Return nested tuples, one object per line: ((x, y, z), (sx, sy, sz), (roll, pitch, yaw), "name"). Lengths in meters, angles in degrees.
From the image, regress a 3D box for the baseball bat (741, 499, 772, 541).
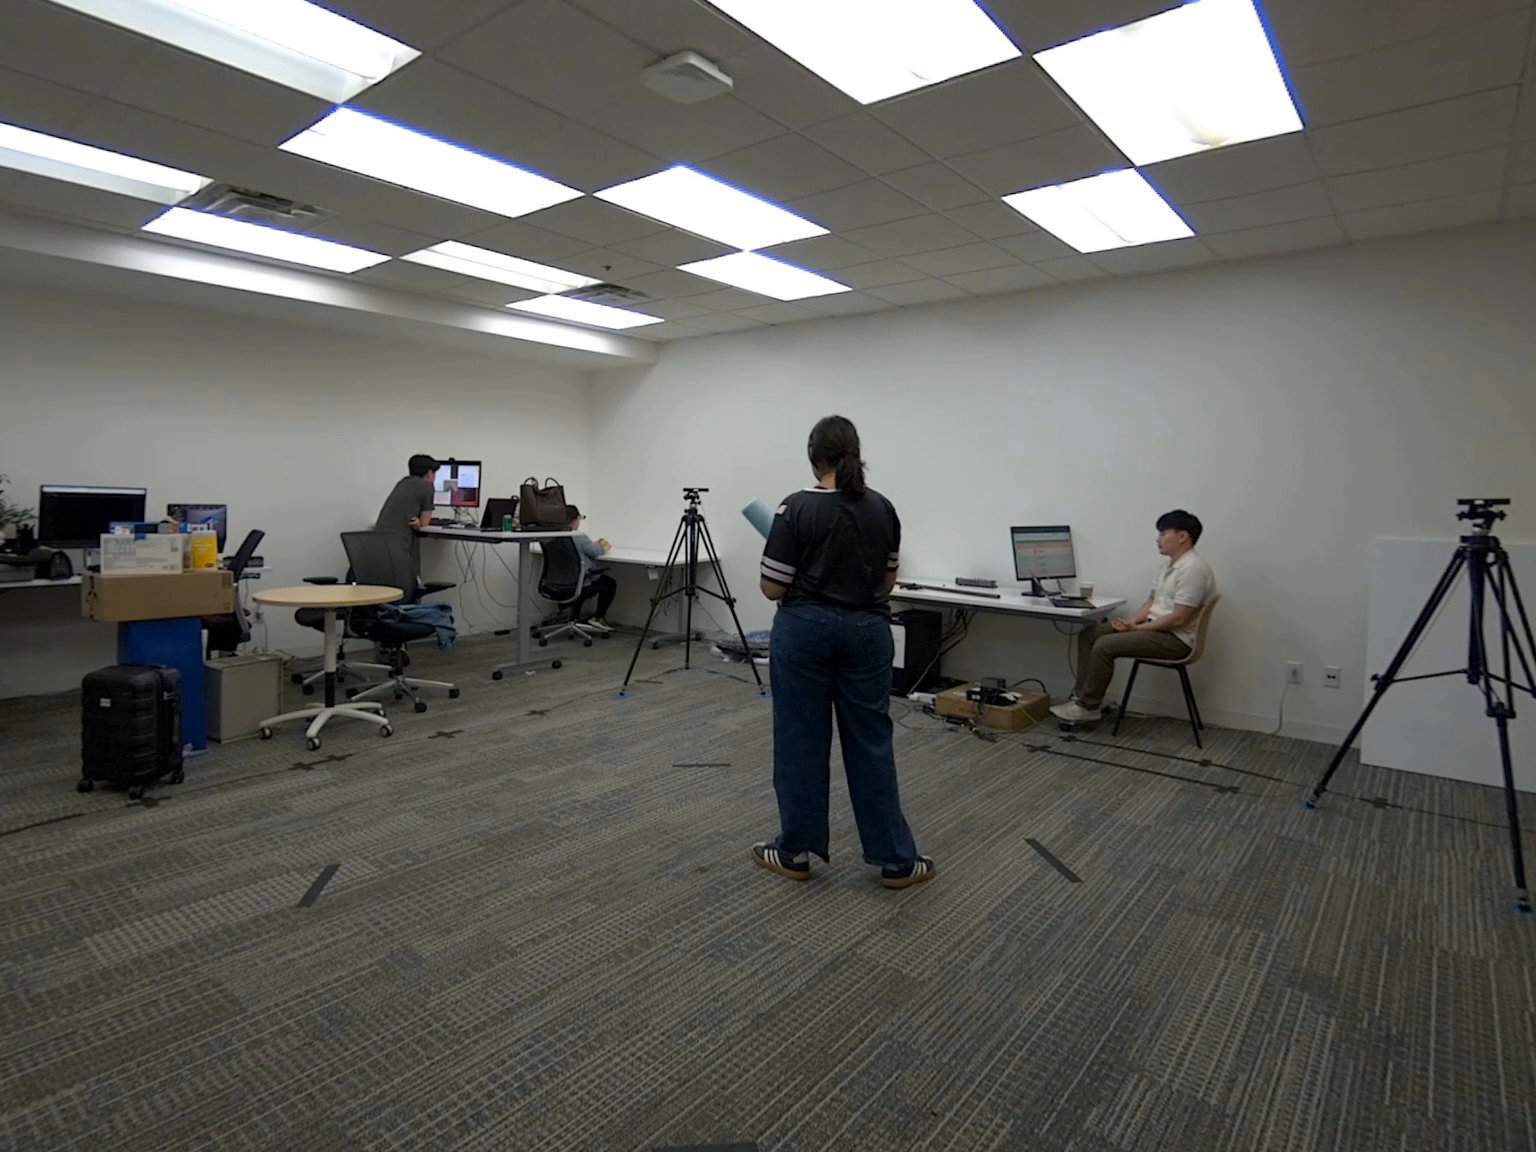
((0.128, -0.082, 3.336), (0.089, 0.545, 0.089), (-43, -2, -2), "baseball bat")
